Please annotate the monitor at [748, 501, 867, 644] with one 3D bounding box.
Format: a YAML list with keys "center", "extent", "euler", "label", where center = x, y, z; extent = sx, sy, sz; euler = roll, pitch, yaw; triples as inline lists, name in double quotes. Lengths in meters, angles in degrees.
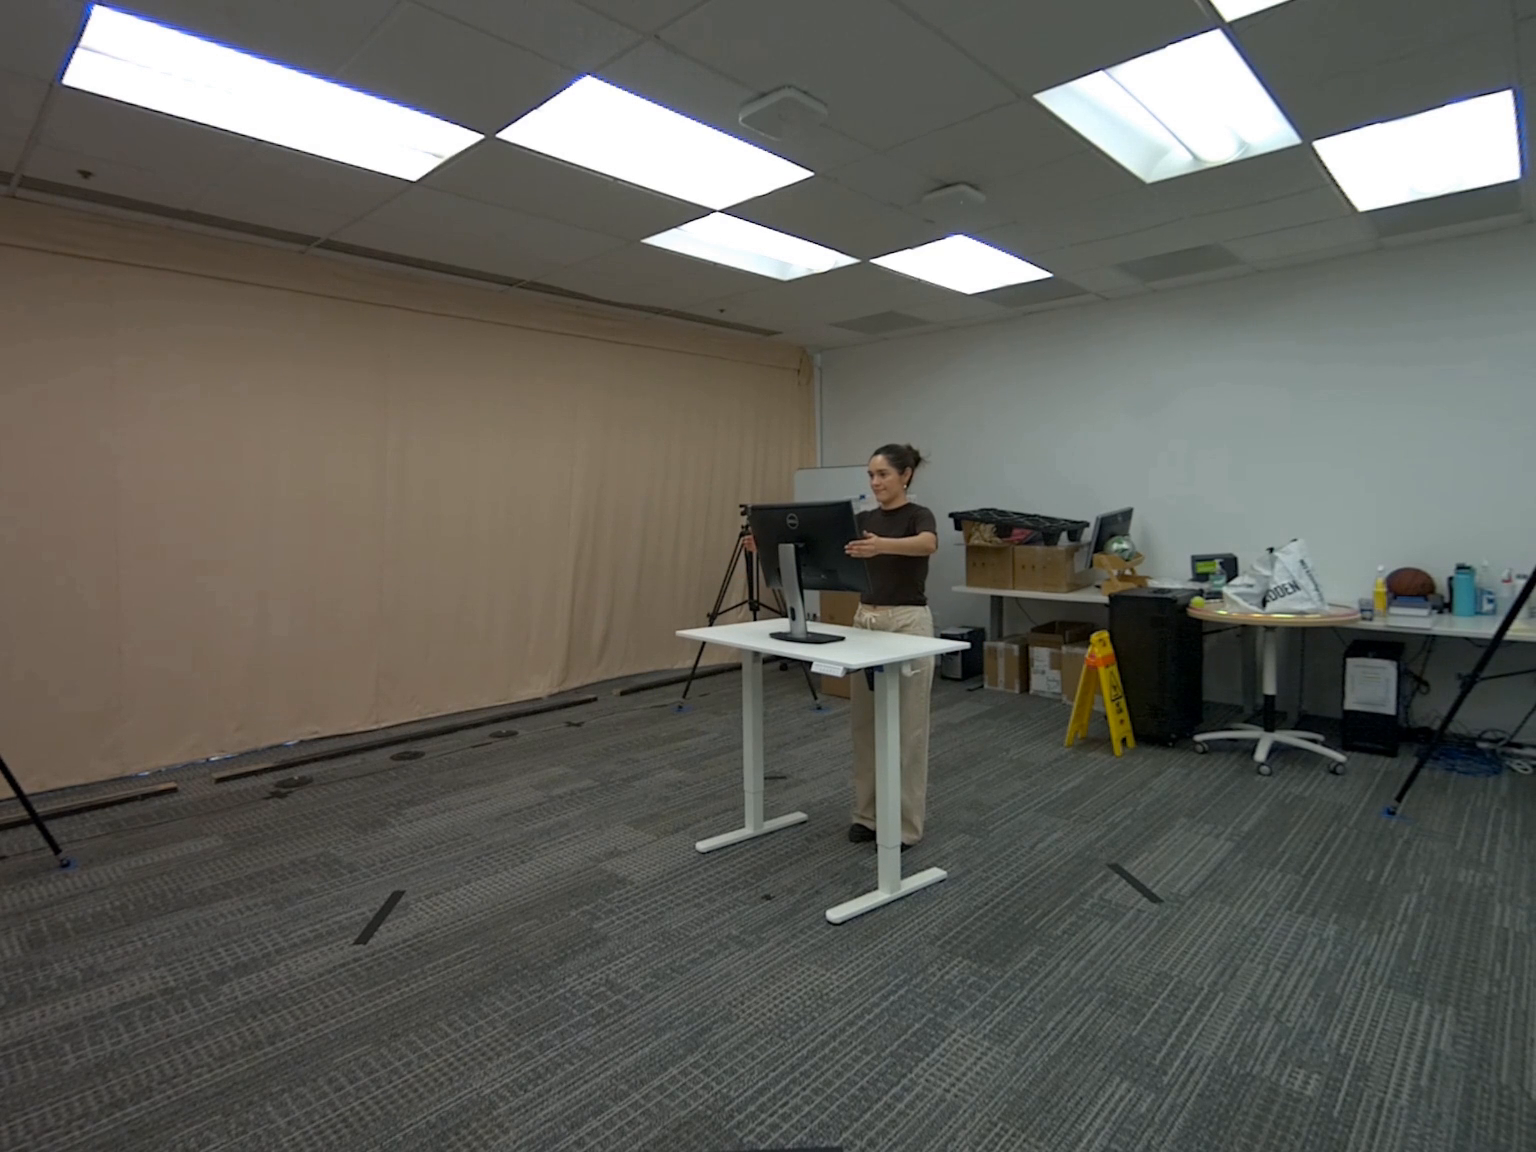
- center: [0.135, -0.015, 3.163]
  extent: [0.557, 0.521, 0.182]
  euler: [1, 7, 45]
  label: "monitor"
